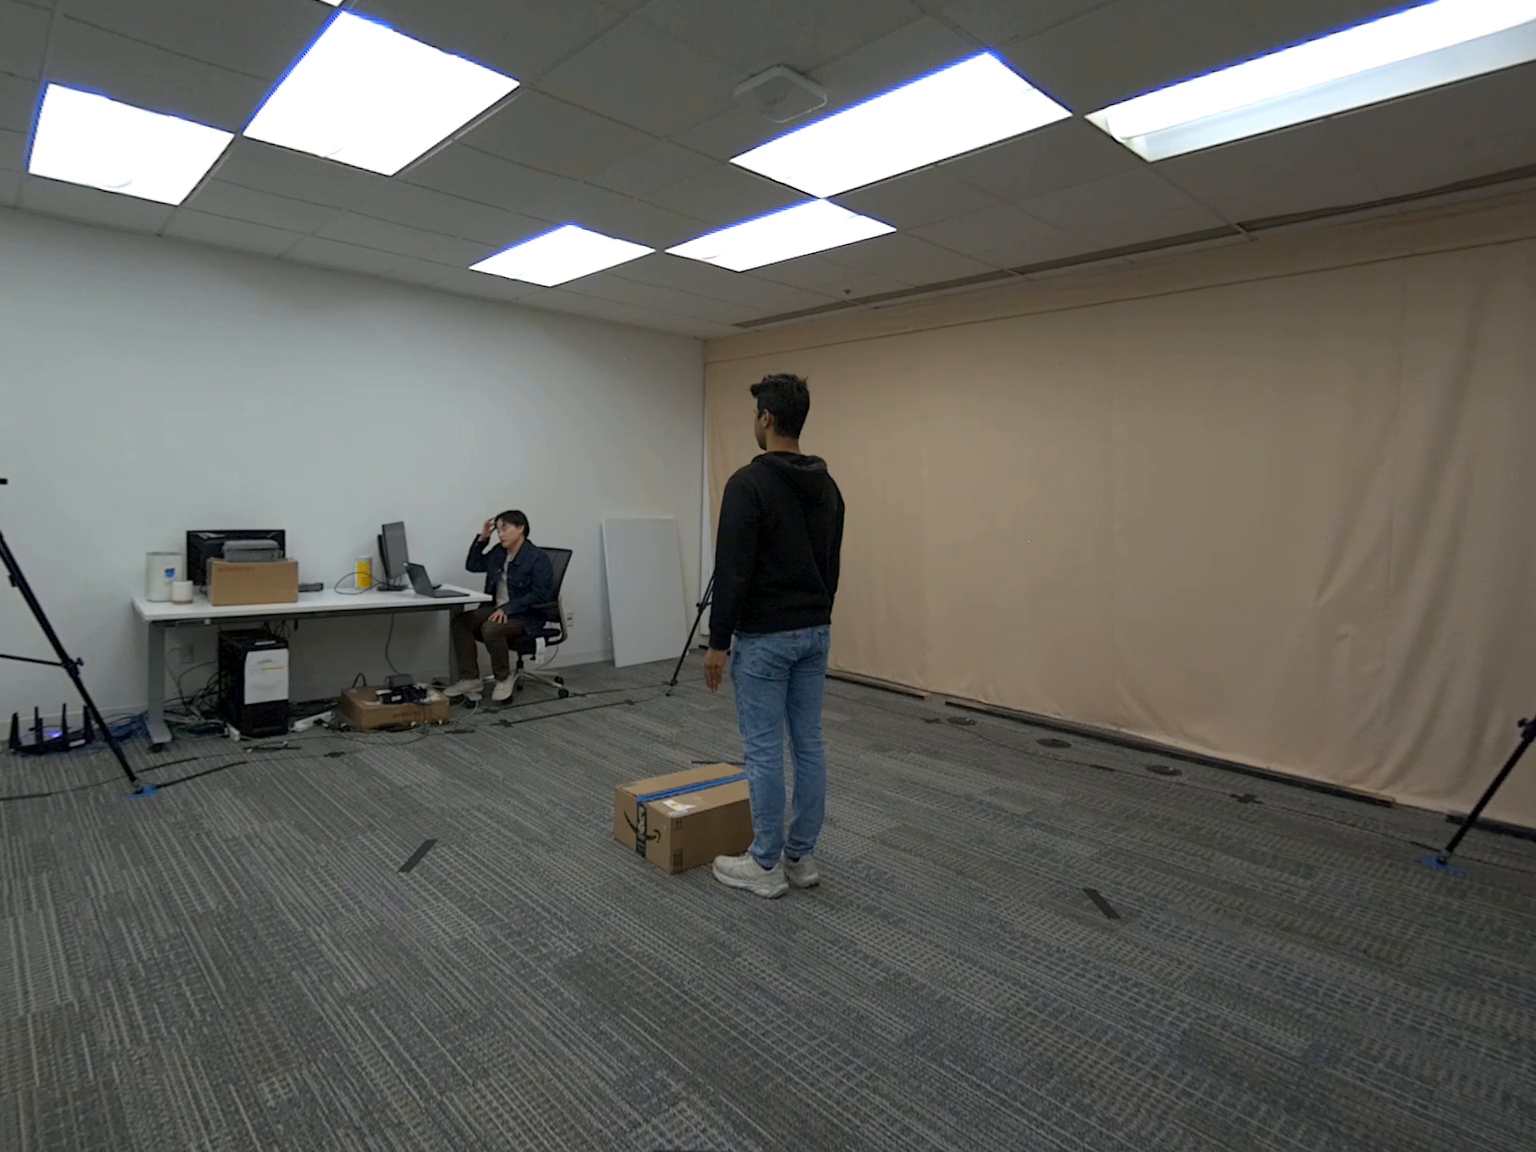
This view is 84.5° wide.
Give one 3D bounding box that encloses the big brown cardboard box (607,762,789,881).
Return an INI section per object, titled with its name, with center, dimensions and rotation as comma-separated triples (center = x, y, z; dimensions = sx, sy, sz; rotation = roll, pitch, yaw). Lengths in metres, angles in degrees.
[big brown cardboard box]
center = -0.283, 0.969, 3.427
dimensions = 0.575, 0.232, 0.428
rotation = -1, 5, -40
